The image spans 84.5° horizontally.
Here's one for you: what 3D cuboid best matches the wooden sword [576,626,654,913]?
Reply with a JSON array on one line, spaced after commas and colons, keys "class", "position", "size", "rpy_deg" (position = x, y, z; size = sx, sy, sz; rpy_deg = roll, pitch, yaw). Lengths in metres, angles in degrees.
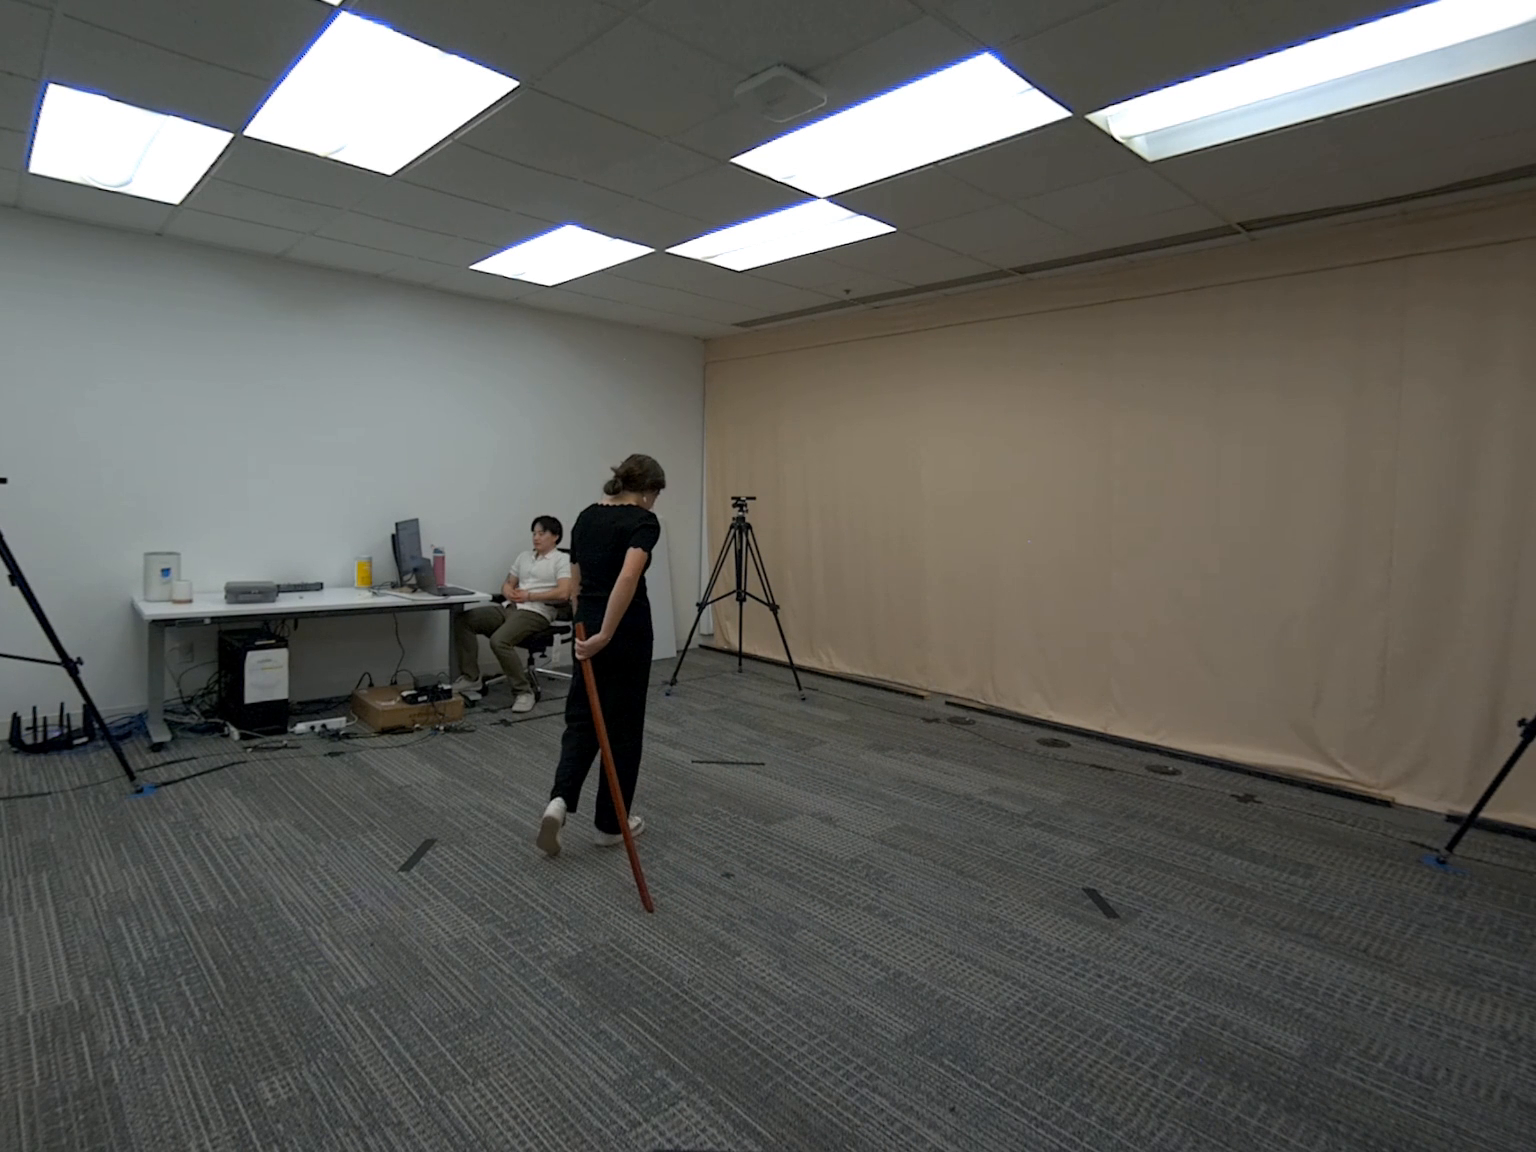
[{"class": "wooden sword", "position": [-0.570, 0.664, 2.977], "size": [0.050, 1.042, 0.024], "rpy_deg": [-9, -20, -29]}]
